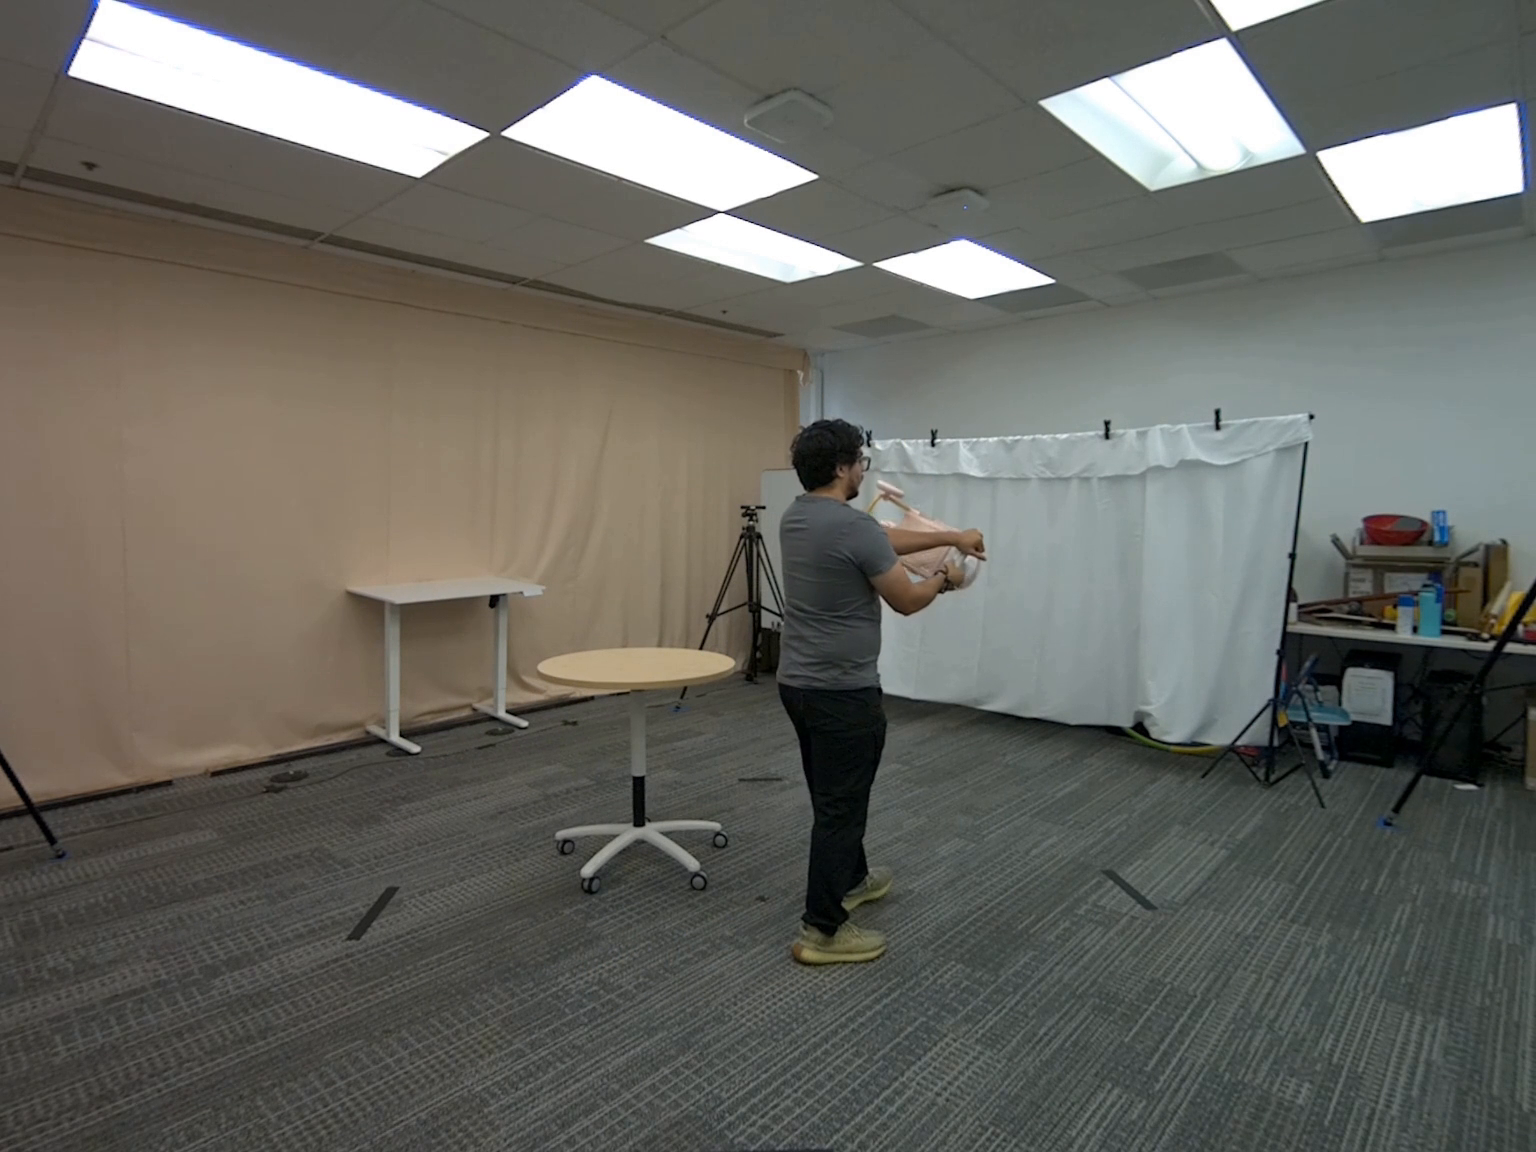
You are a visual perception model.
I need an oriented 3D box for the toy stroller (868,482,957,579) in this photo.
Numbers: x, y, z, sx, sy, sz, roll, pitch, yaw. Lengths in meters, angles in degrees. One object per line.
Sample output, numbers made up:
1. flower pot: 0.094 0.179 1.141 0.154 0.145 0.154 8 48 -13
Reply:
1. toy stroller: 0.540 -0.113 3.025 0.555 0.281 0.329 34 5 39
